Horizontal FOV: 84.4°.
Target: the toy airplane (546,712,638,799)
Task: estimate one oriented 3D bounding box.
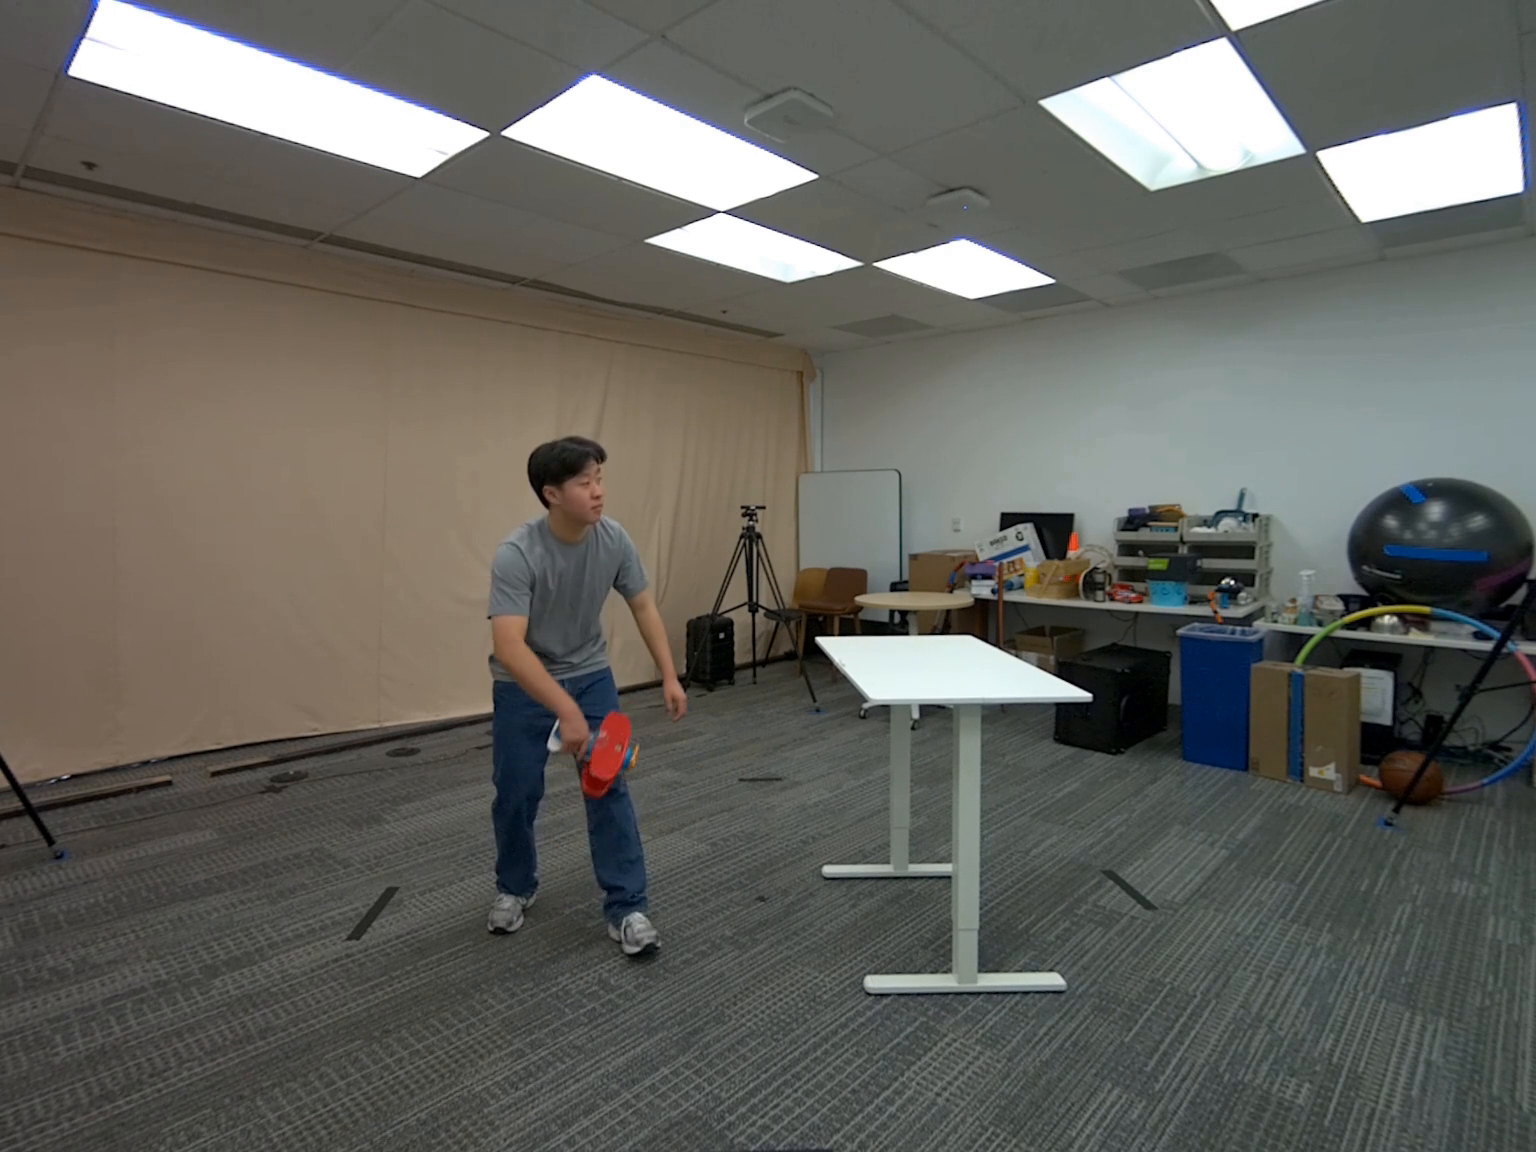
[{"bbox_3d":[-0.520,0.534,2.499,0.250,0.258,0.158,14,-47,-40],"label":"toy airplane"}]
